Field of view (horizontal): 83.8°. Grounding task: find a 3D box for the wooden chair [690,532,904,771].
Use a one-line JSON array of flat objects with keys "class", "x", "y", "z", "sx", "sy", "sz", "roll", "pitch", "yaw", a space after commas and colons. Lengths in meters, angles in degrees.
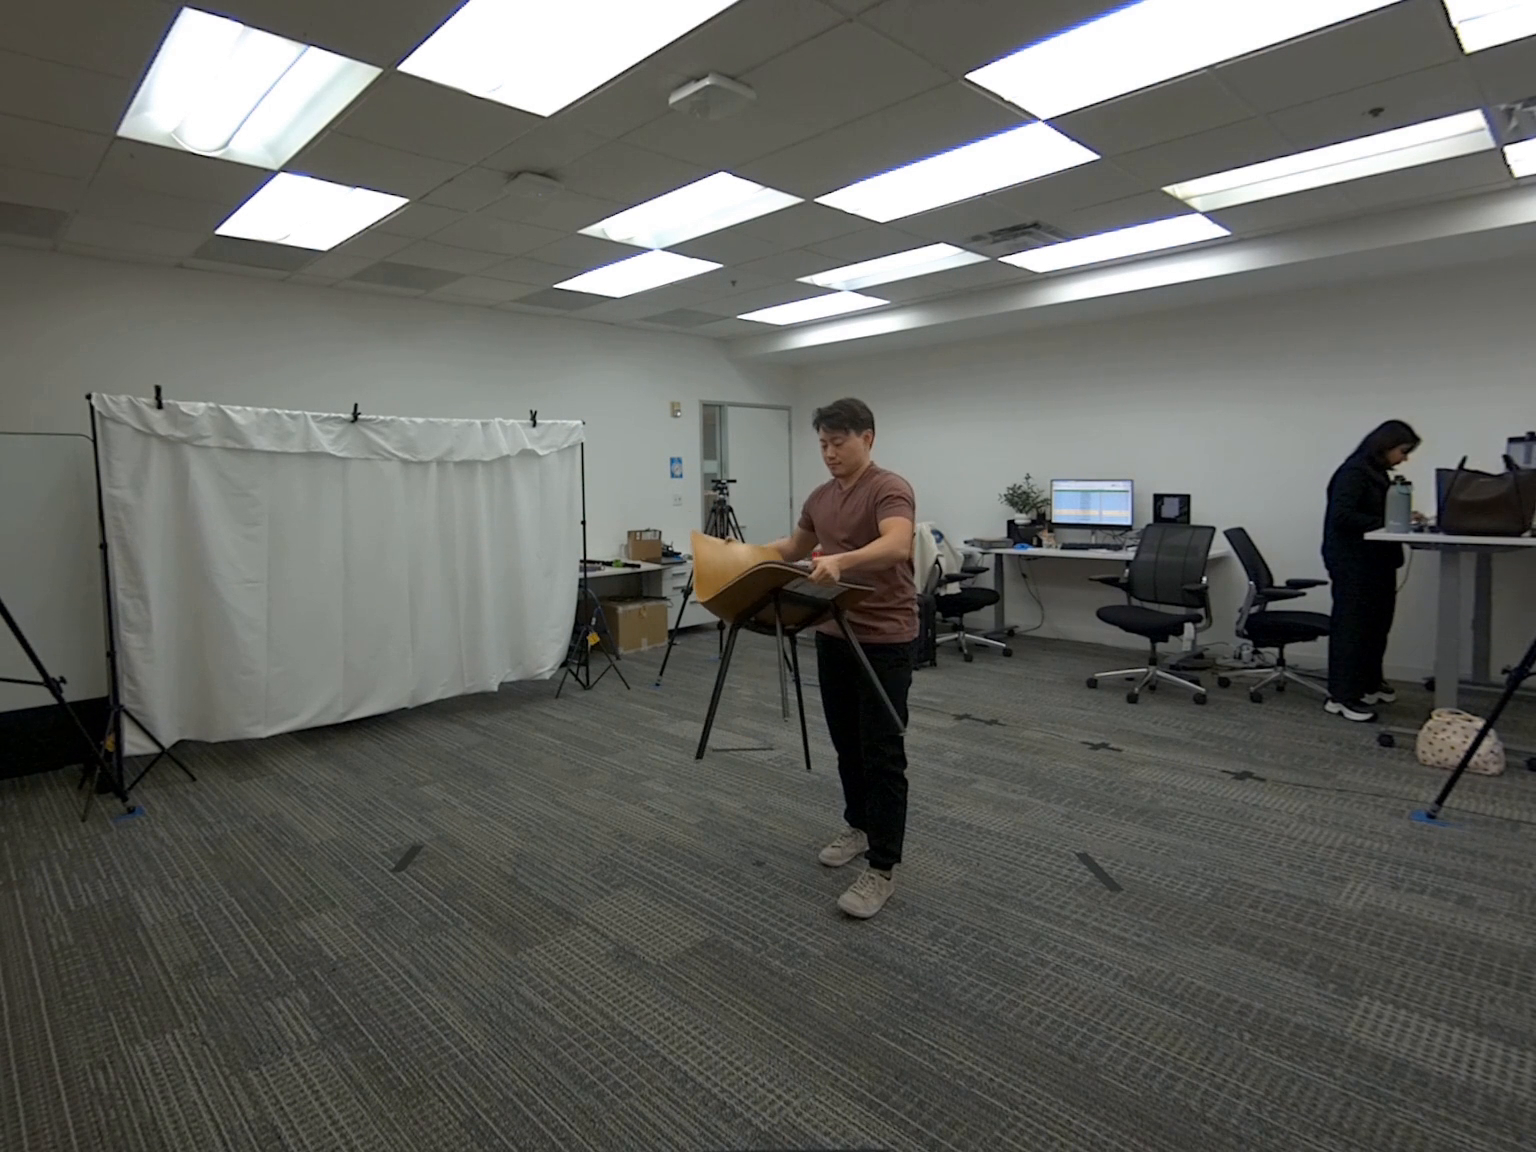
[{"class": "wooden chair", "x": 0.050, "y": 0.135, "z": 2.737, "sx": 0.463, "sy": 0.903, "sz": 0.525, "roll": 14, "pitch": -39, "yaw": -34}]
